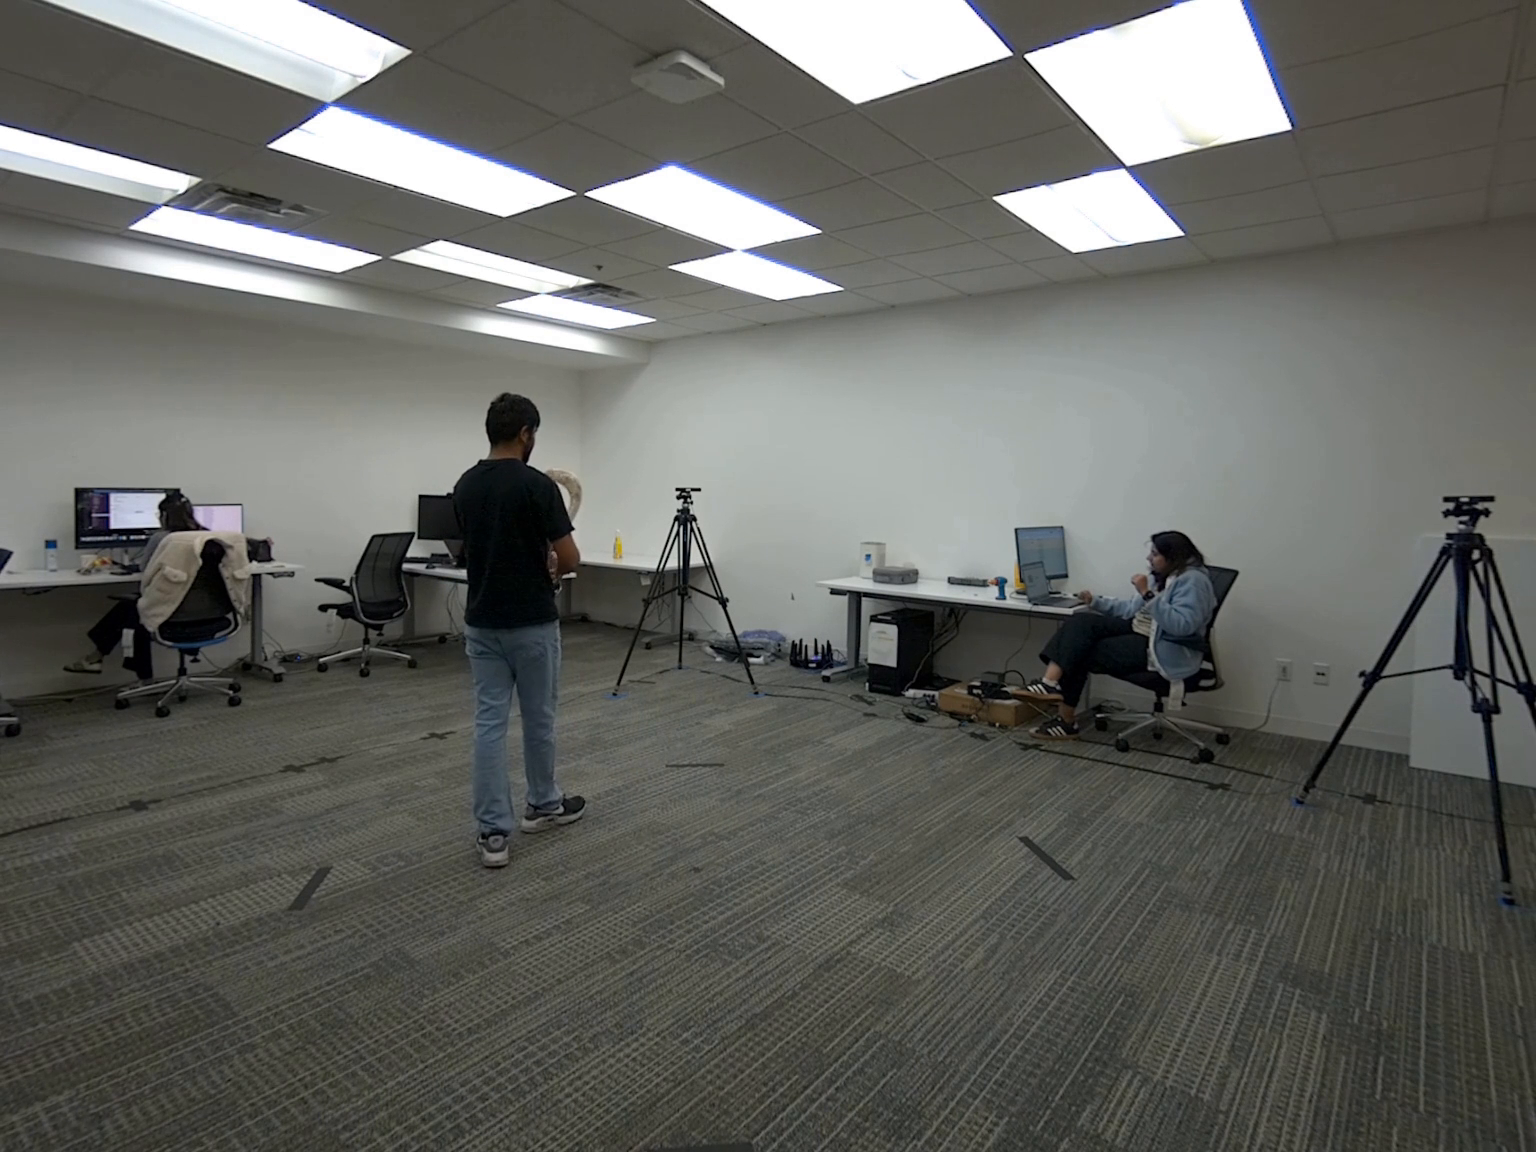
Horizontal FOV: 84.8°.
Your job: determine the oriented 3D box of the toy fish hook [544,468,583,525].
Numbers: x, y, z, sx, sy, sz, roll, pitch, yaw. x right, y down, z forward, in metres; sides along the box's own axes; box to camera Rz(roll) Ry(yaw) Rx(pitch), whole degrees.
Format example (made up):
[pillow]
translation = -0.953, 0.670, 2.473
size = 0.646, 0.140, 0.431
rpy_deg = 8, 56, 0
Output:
[toy fish hook]
translation = -0.933, -0.213, 3.587
size = 0.220, 0.513, 0.049
rpy_deg = 13, -17, -18
